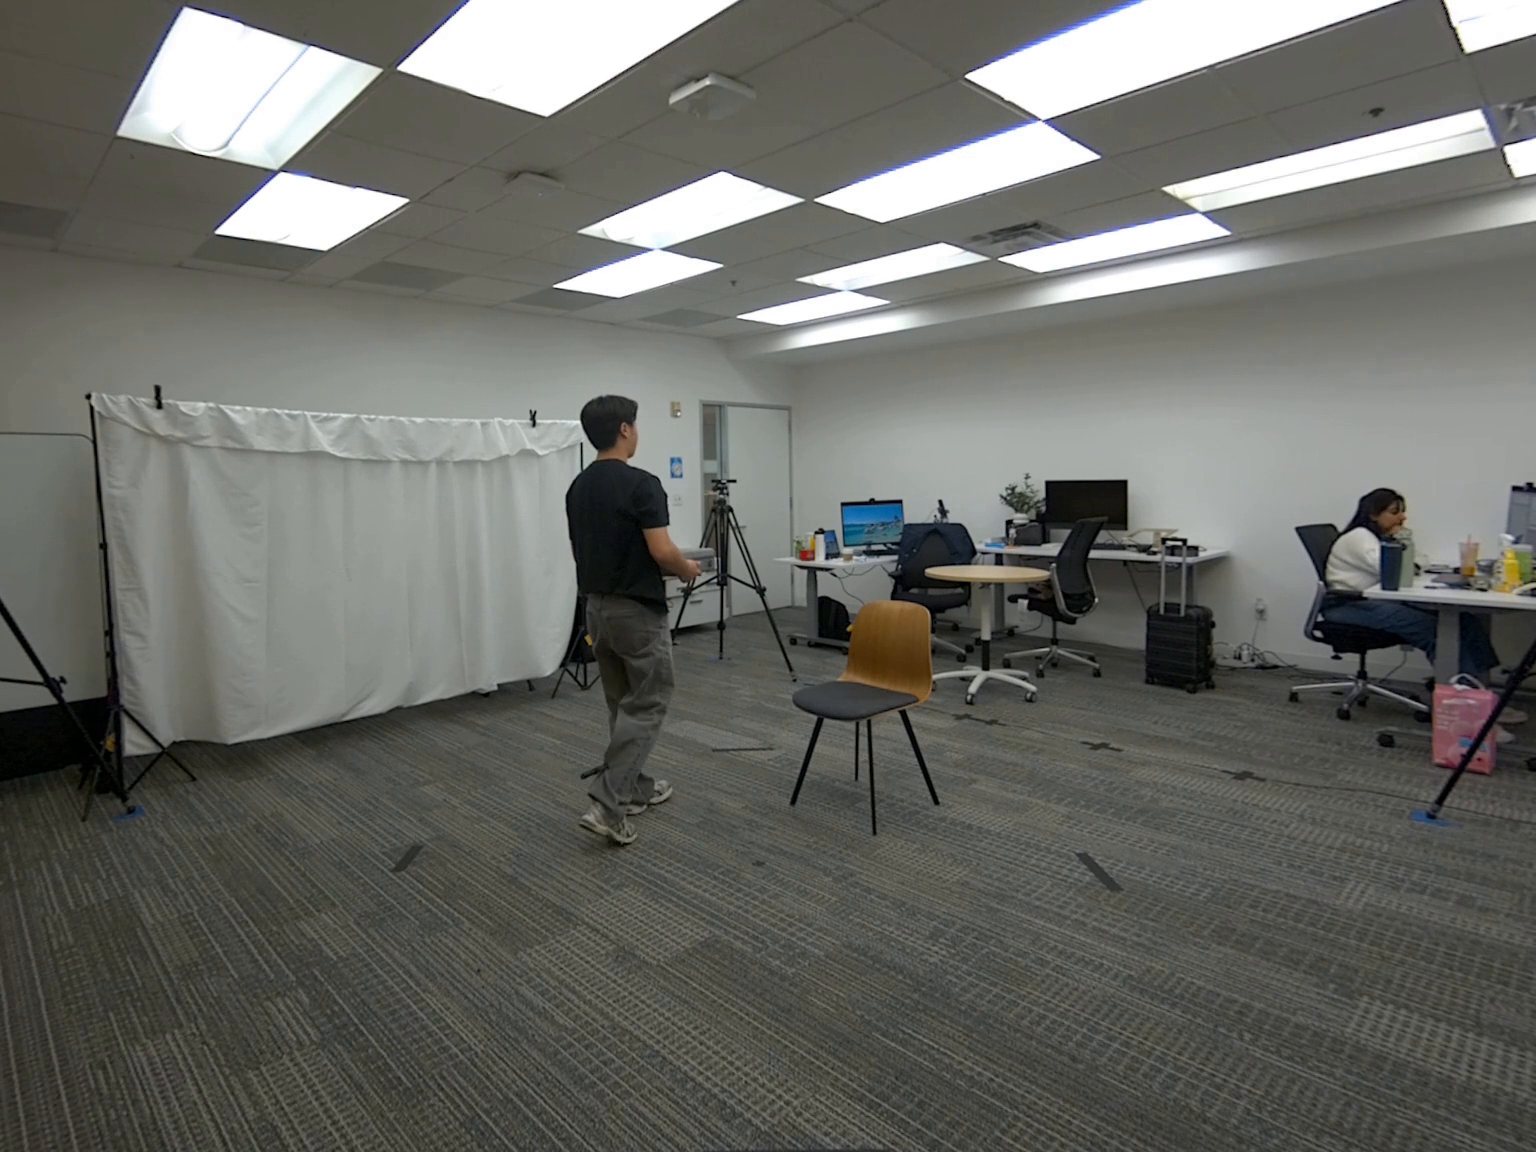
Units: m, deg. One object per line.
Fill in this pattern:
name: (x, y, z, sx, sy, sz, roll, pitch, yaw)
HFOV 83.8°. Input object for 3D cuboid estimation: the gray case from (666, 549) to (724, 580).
gray case: (-0.391, -0.057, 3.724, 0.271, 0.103, 0.280, 2, 6, 43)
